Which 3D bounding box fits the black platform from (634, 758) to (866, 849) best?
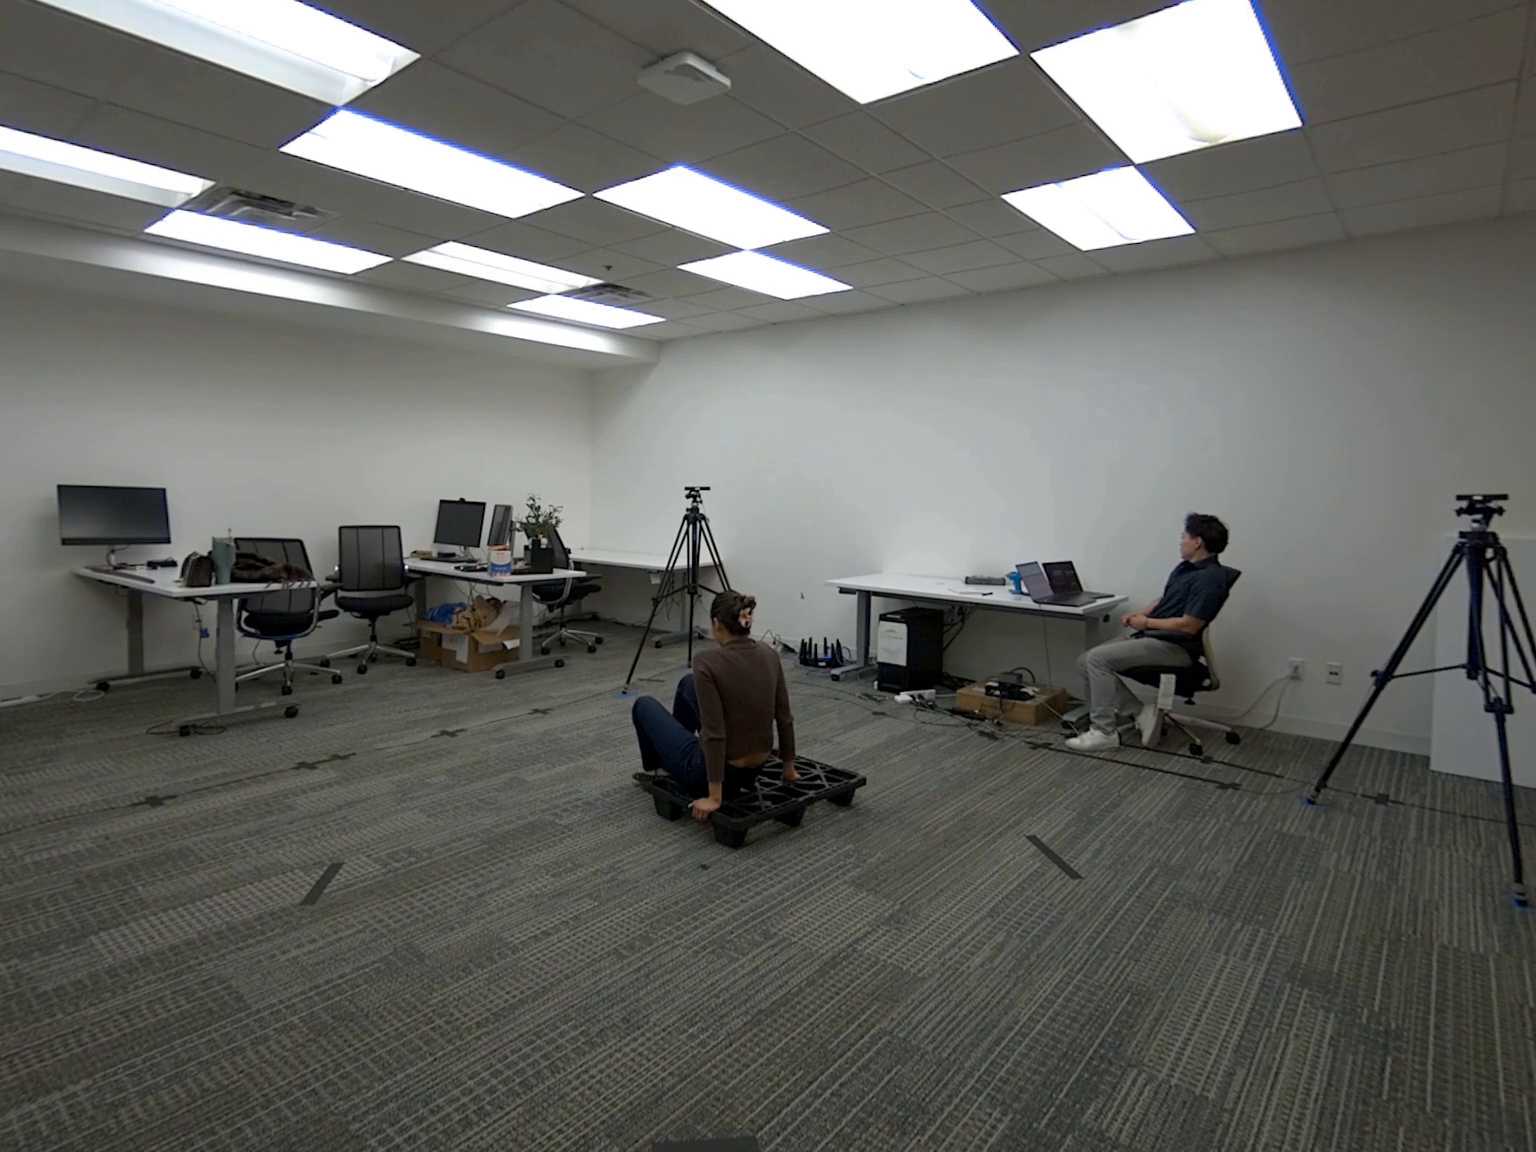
[{"bbox_3d":[-0.055,0.946,3.688,0.782,0.143,0.626,-5,8,-44],"label":"black platform"}]
